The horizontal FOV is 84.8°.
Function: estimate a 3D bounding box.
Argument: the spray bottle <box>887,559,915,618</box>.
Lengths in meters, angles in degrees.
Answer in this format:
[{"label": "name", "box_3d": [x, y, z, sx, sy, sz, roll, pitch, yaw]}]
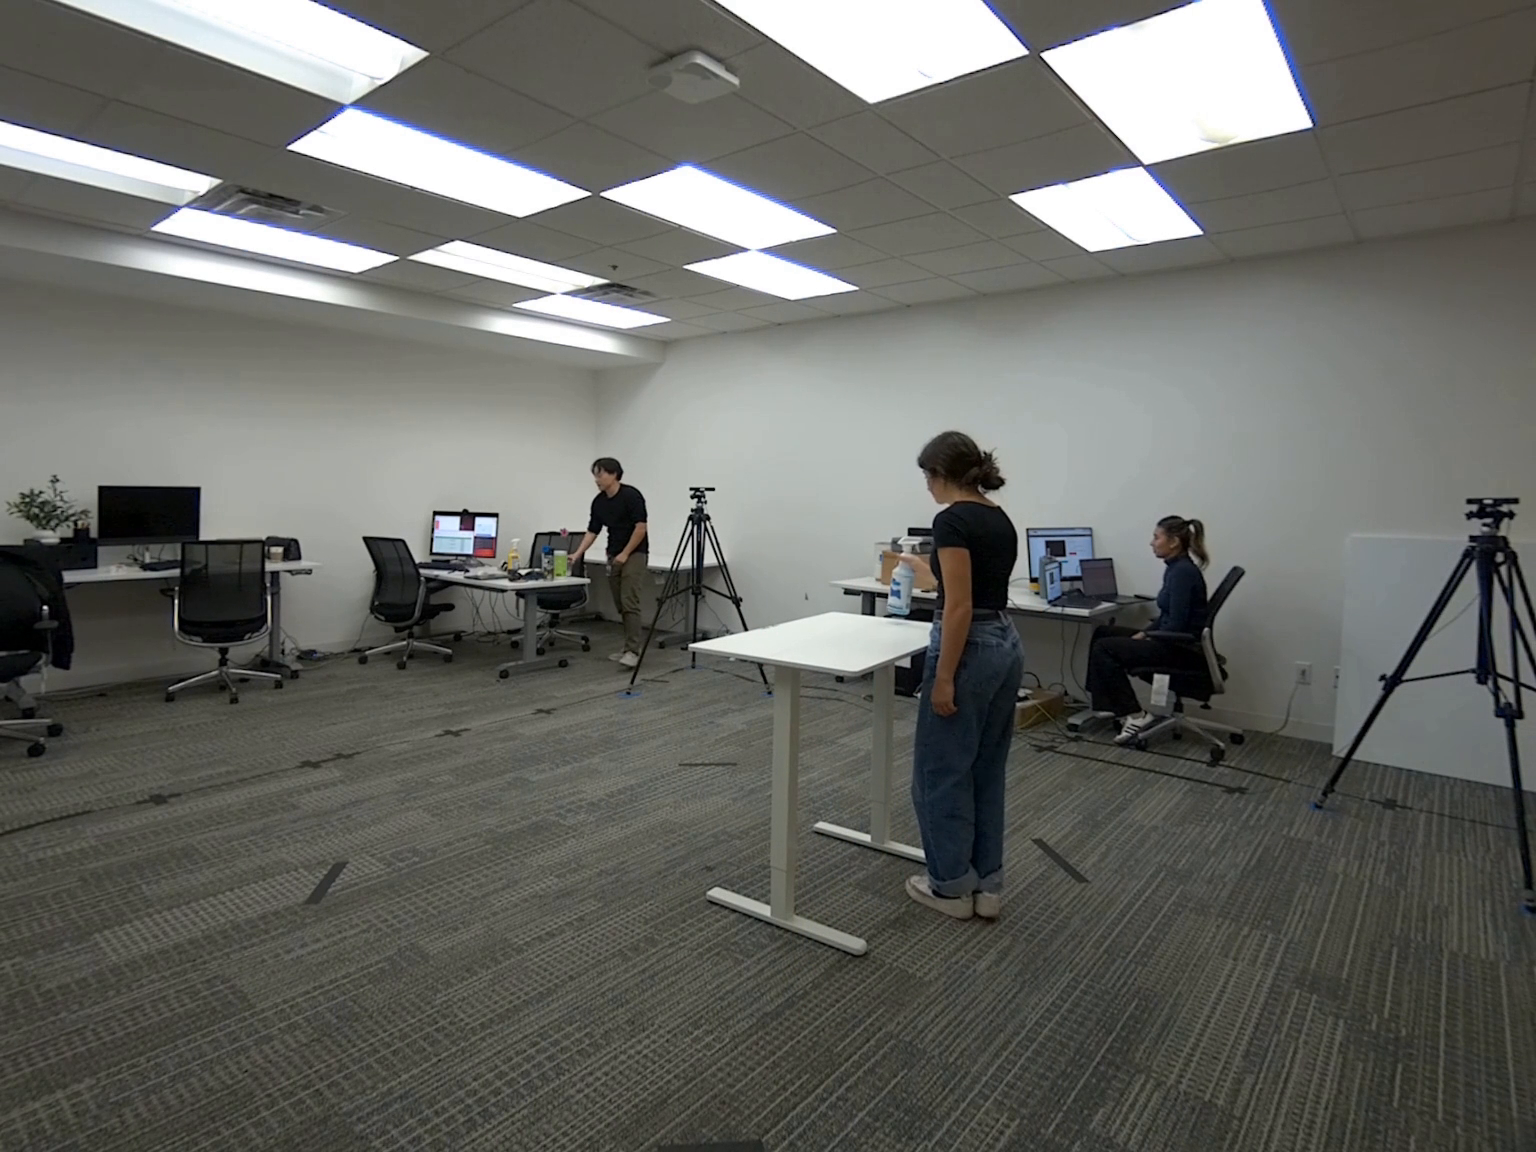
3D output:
[{"label": "spray bottle", "box_3d": [0.514, -0.009, 3.268, 0.092, 0.296, 0.086, 9, 7, 16]}]
